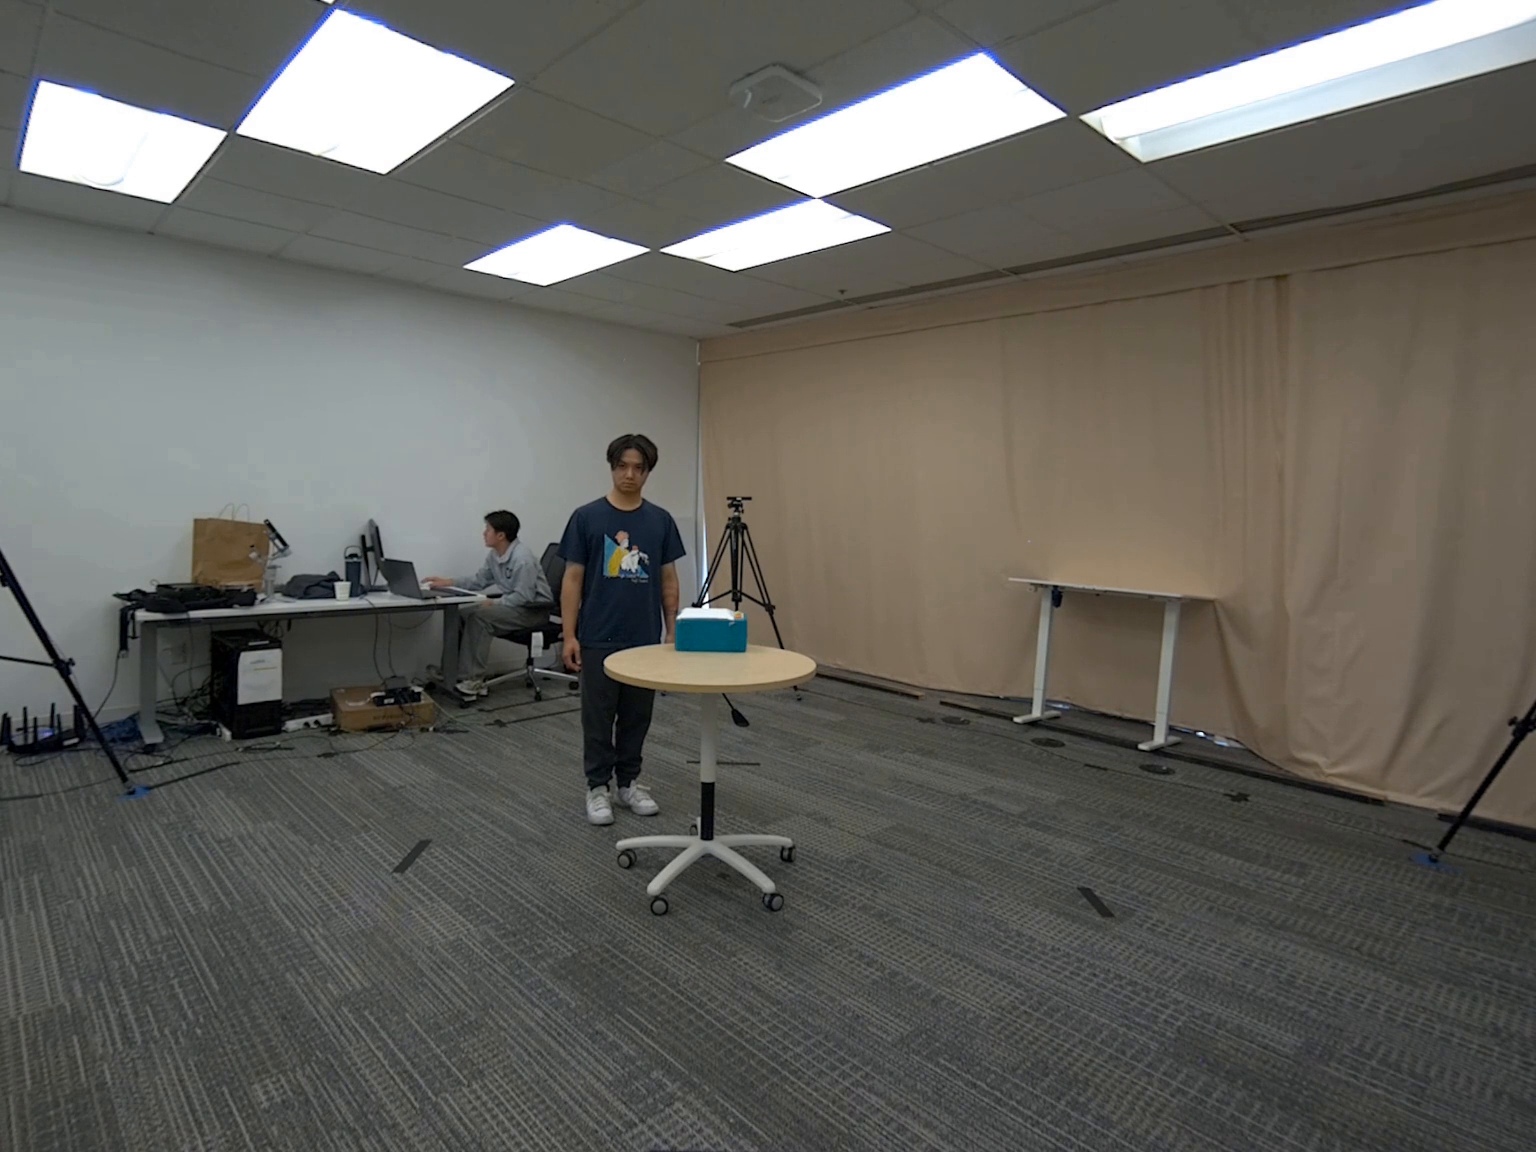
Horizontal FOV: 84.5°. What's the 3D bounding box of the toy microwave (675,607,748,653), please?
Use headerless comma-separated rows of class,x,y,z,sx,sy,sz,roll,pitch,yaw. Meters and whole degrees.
toy microwave,-0.231,0.211,3.306,0.286,0.152,0.185,0,6,1
